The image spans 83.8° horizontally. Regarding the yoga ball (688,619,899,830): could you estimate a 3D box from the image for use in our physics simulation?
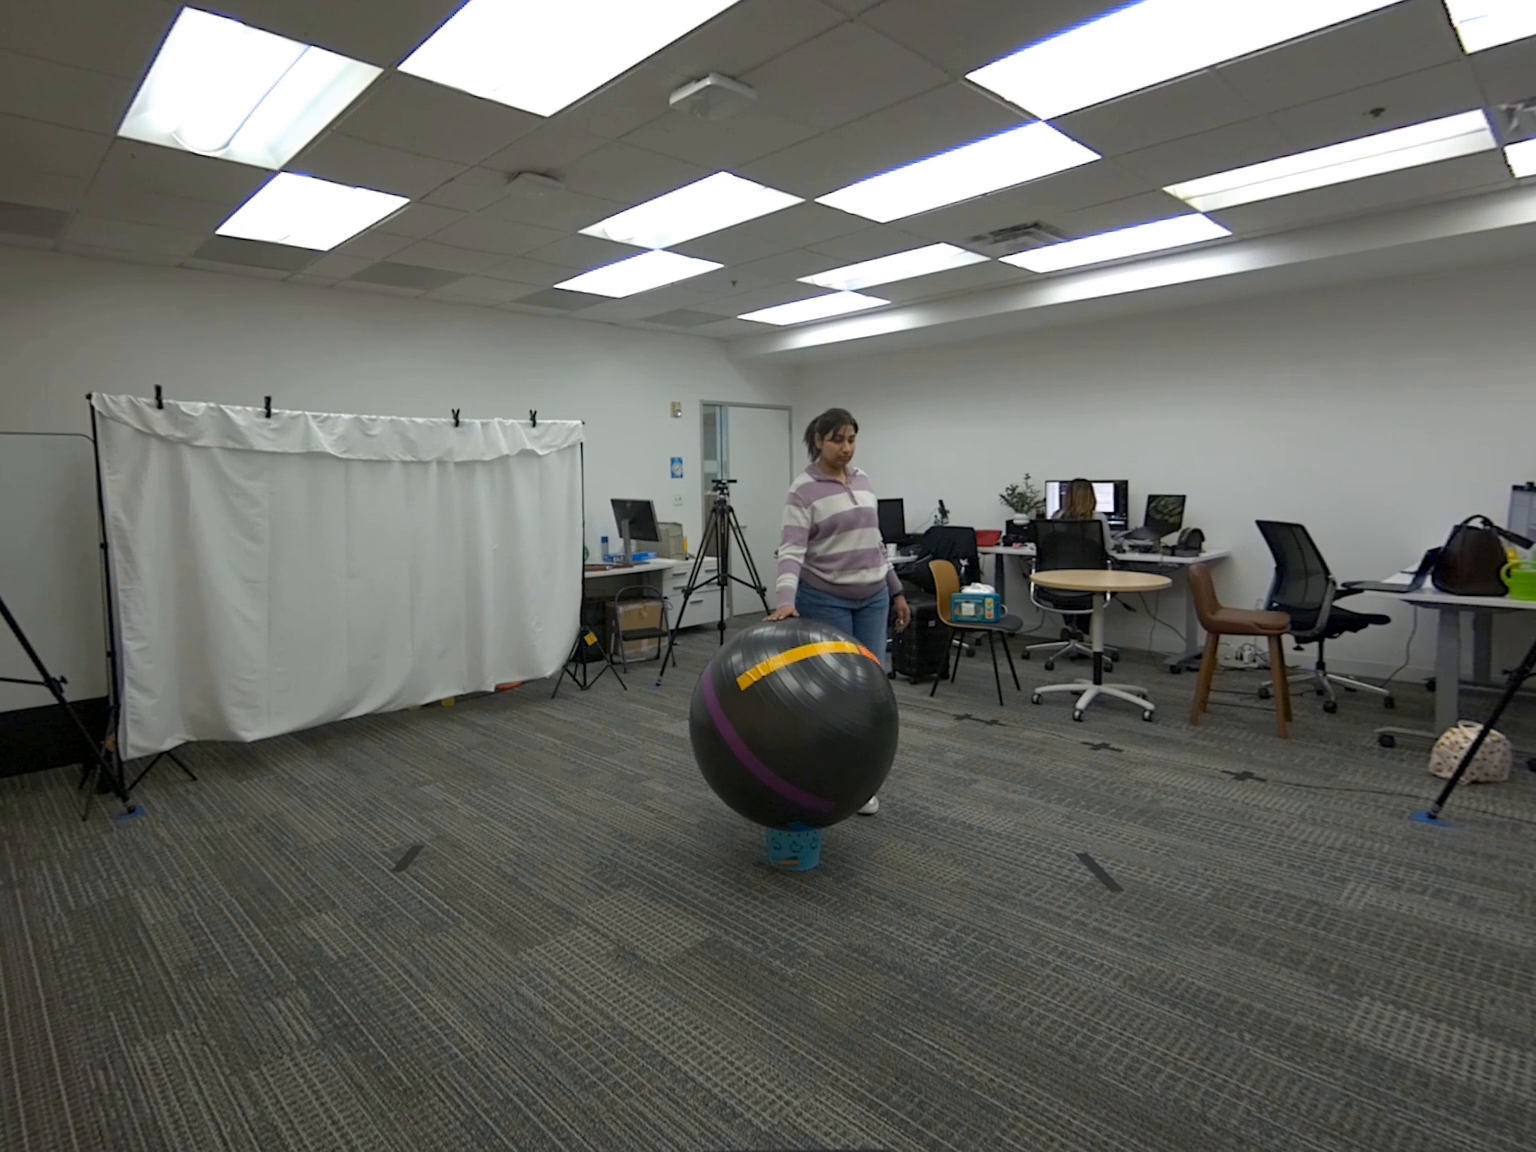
[{"bbox_3d":[0.087,0.532,3.111,0.757,0.755,0.762,-1,5,-2],"label":"yoga ball"}]
